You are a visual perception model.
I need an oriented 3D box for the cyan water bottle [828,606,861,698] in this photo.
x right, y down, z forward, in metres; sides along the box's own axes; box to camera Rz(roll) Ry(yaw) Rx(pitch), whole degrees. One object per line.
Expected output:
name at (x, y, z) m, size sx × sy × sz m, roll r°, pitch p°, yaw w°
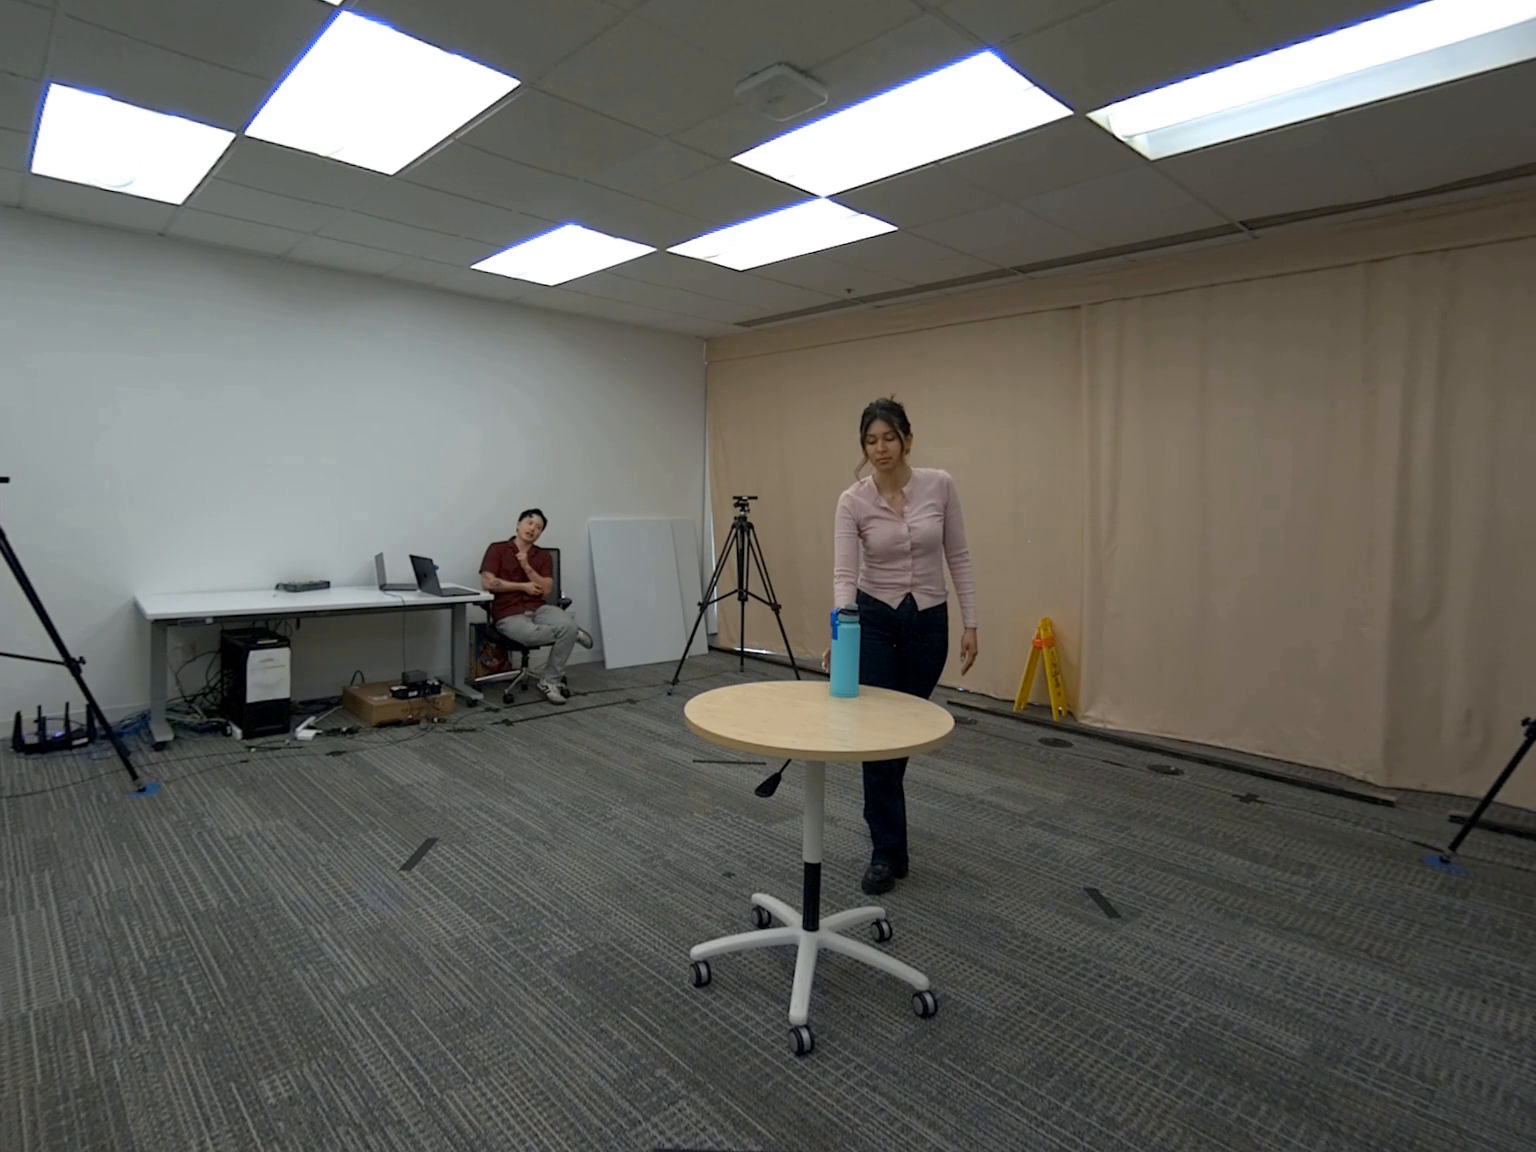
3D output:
cyan water bottle at (0.239, 0.235, 2.606) m, size 0.092 × 0.282 × 0.092 m, roll 2°, pitch 4°, yaw -2°
